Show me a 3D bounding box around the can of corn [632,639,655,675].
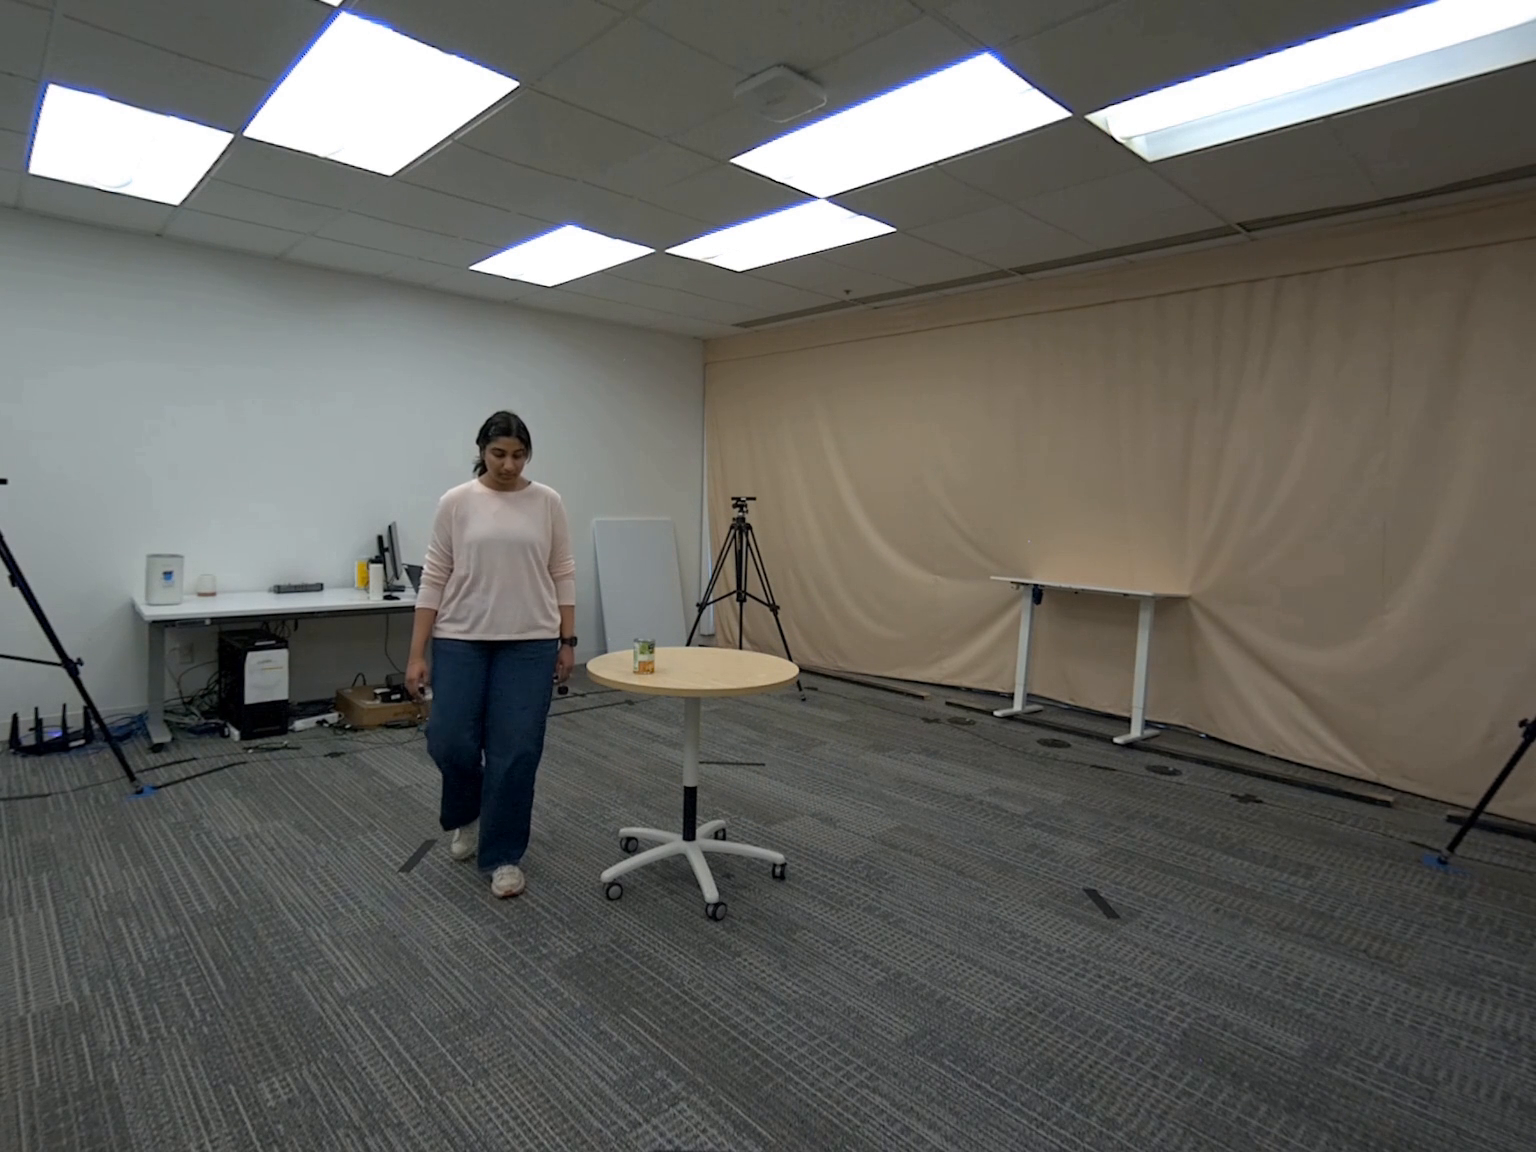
[{"bbox_3d":[-0.438,0.280,2.889,0.074,0.111,0.074,0,4,-1],"label":"can of corn"}]
